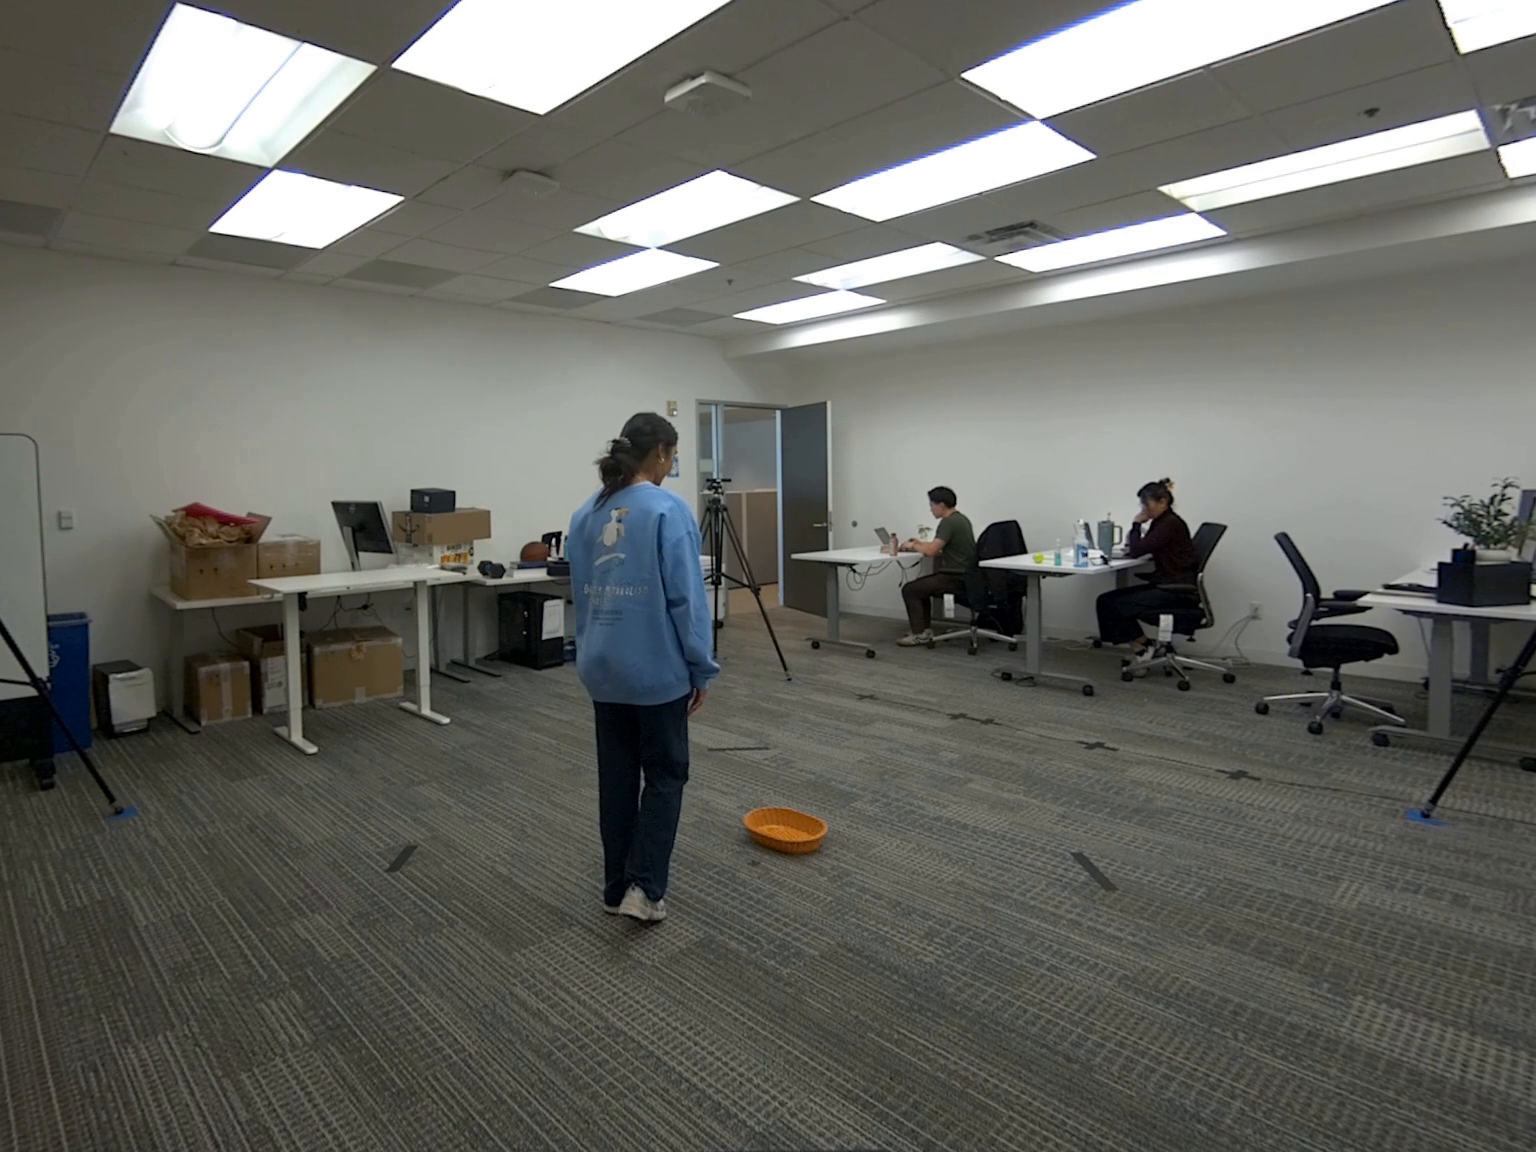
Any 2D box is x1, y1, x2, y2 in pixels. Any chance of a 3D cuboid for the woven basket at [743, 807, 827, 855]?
[{"bbox_3d":[0.065,0.983,3.289,0.361,0.073,0.246,6,10,45],"label":"woven basket"}]
